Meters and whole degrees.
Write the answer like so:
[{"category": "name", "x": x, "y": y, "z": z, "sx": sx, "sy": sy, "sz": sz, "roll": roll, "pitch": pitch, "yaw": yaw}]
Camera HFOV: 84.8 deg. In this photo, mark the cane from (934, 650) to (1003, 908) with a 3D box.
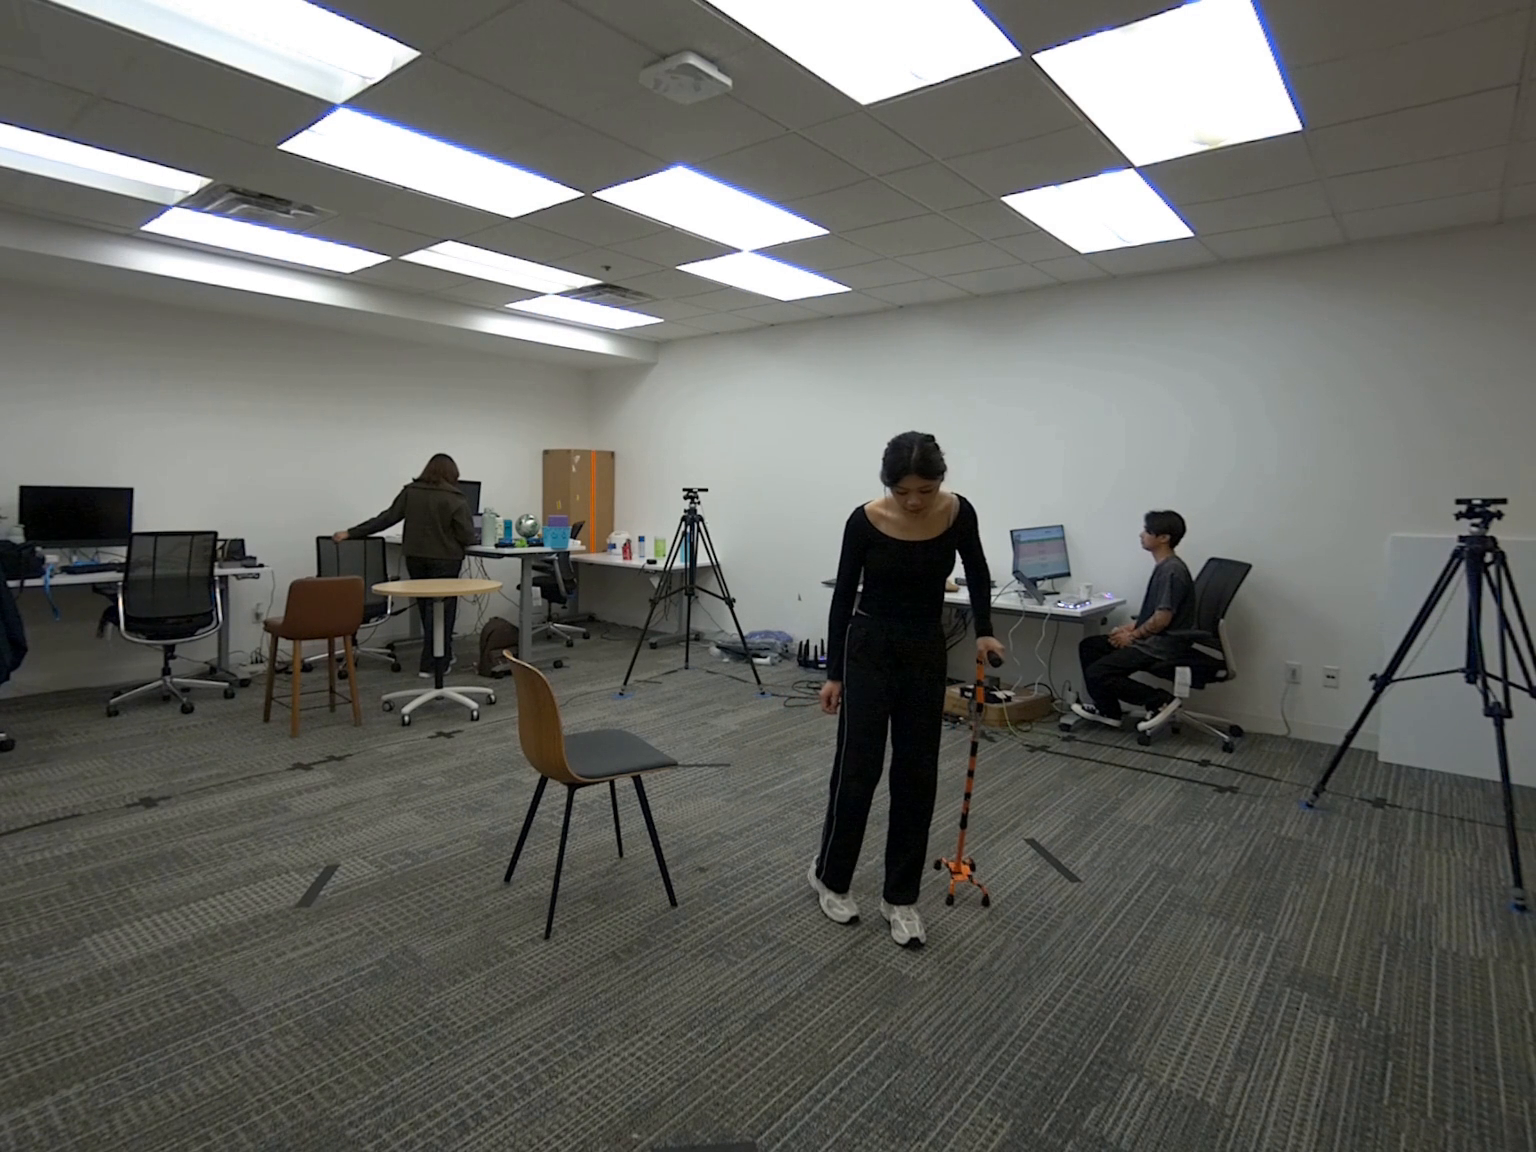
[{"category": "cane", "x": 0.690, "y": 0.658, "z": 2.835, "sx": 0.151, "sy": 0.895, "sz": 0.210, "roll": 2, "pitch": 16, "yaw": -3}]
